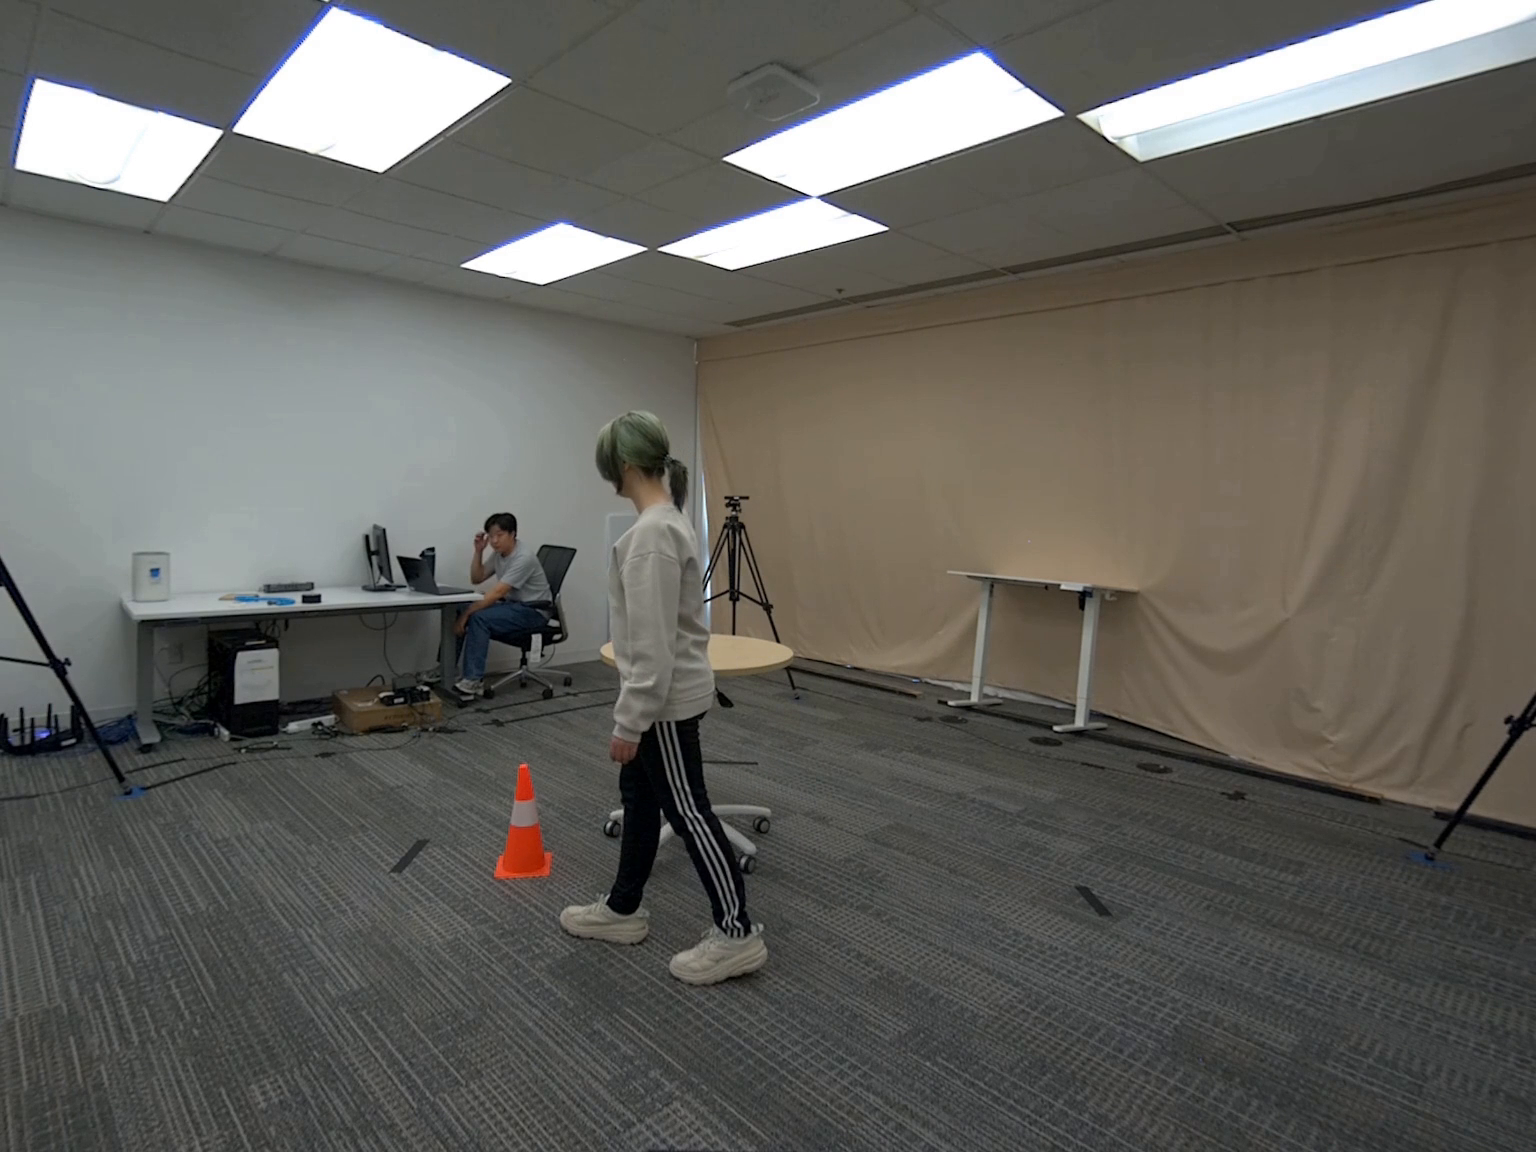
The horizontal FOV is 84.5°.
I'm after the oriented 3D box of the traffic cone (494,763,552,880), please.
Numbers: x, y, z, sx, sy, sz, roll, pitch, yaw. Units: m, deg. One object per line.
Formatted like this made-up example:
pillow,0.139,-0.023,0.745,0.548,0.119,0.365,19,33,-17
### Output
traffic cone,-0.924,0.901,3.135,0.203,0.383,0.205,0,3,-11
